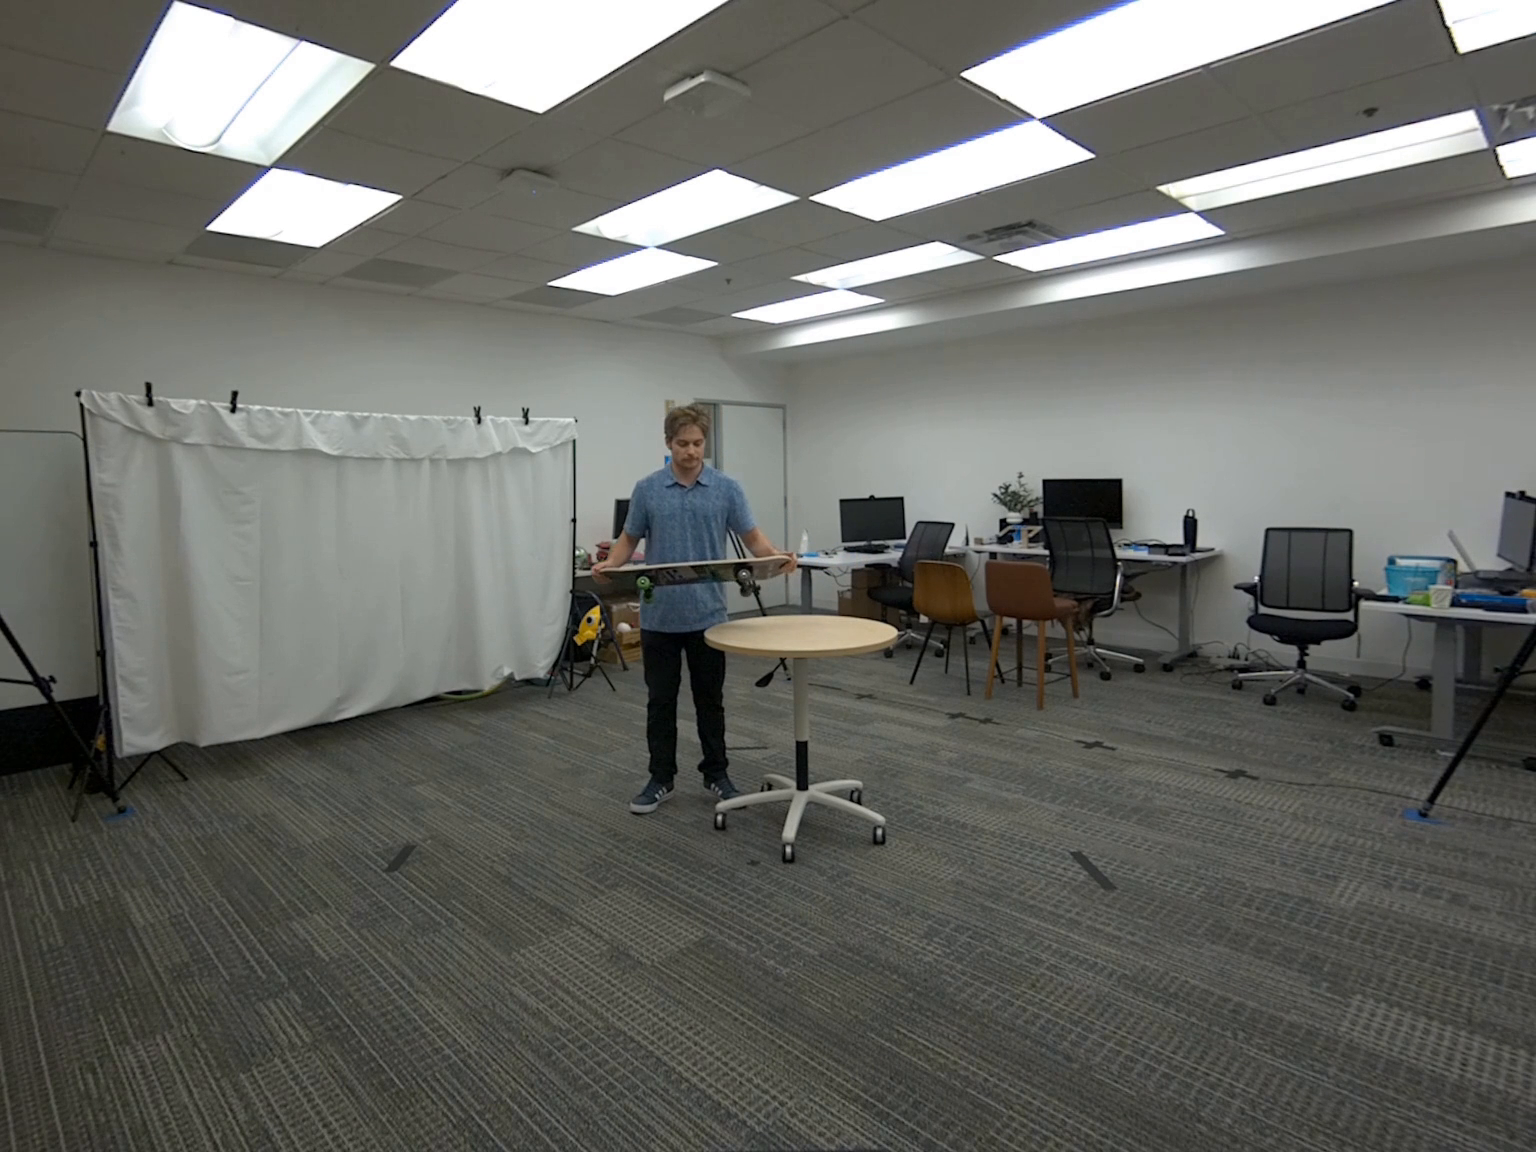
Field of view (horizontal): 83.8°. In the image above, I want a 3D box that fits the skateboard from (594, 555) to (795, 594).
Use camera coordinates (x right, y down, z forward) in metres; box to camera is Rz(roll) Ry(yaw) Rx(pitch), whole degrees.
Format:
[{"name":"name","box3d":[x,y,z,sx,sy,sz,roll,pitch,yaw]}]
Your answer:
[{"name":"skateboard","box3d":[-0.293,0.020,3.429,0.787,0.113,0.189,-4,-24,2]}]
